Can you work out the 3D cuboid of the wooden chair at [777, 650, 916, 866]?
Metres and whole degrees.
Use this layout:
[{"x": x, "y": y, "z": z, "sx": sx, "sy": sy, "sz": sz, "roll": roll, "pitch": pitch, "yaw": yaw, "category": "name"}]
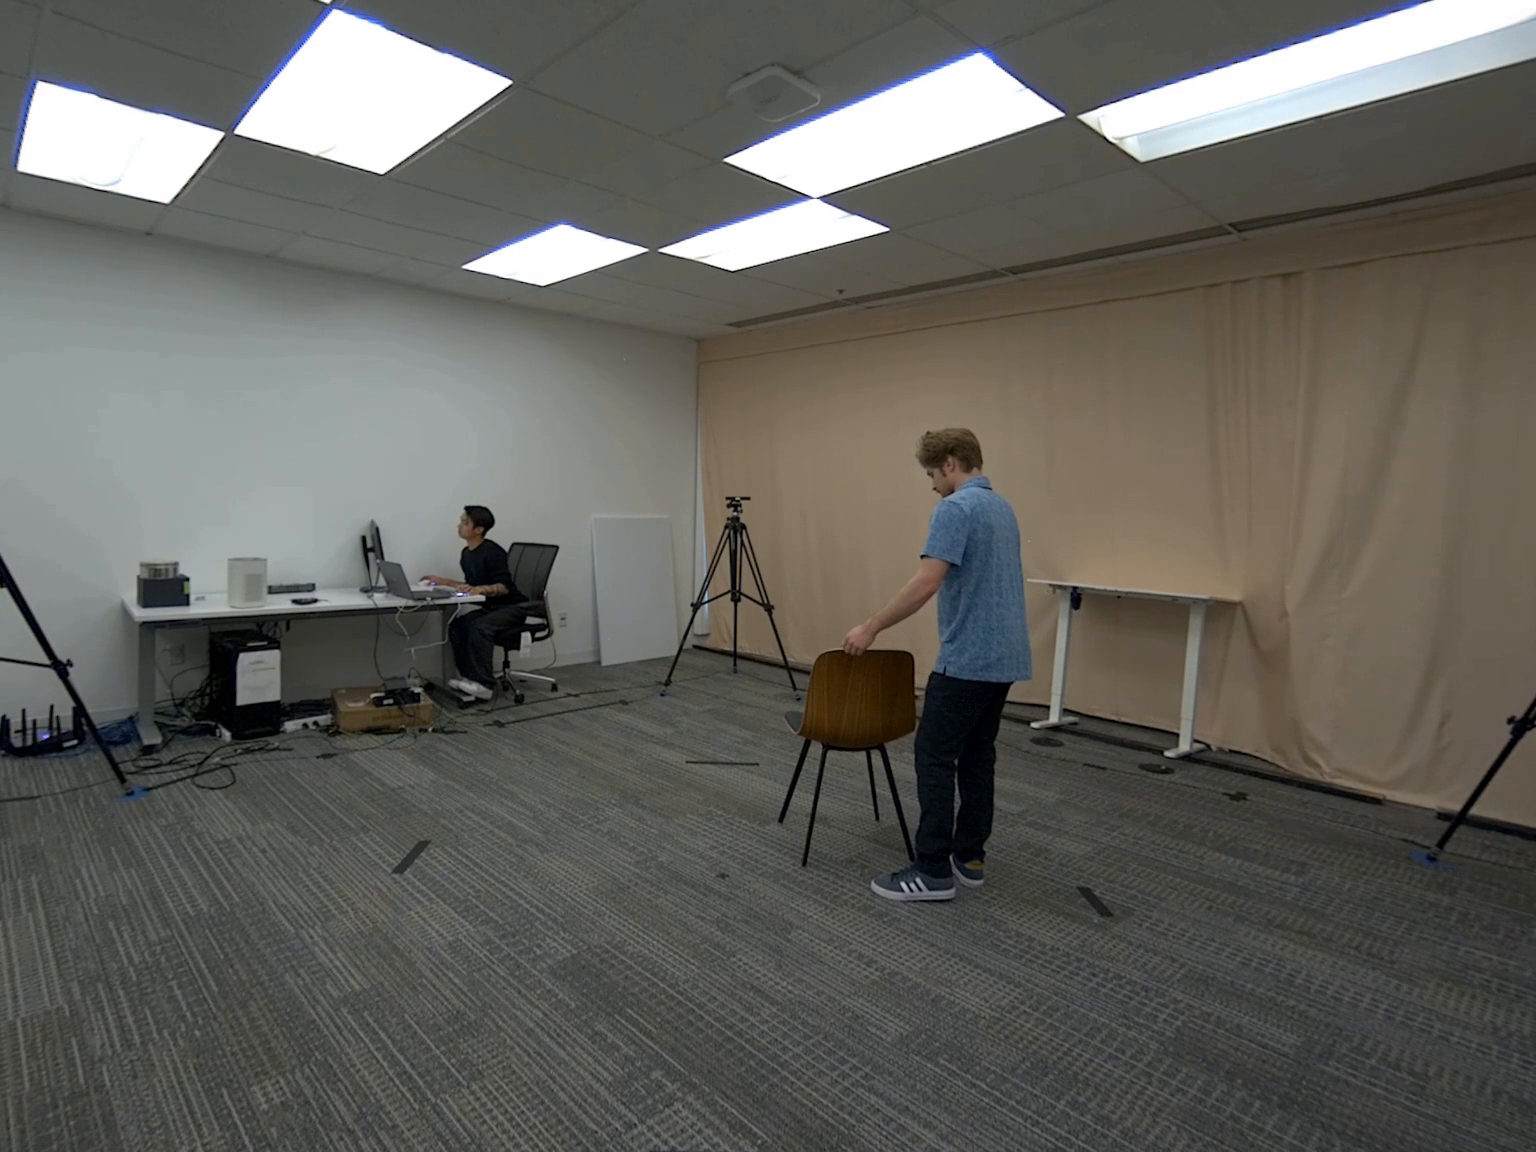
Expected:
[{"x": 0.303, "y": 0.659, "z": 3.431, "sx": 0.474, "sy": 0.873, "sz": 0.530, "roll": 0, "pitch": 7, "yaw": -11, "category": "wooden chair"}]
